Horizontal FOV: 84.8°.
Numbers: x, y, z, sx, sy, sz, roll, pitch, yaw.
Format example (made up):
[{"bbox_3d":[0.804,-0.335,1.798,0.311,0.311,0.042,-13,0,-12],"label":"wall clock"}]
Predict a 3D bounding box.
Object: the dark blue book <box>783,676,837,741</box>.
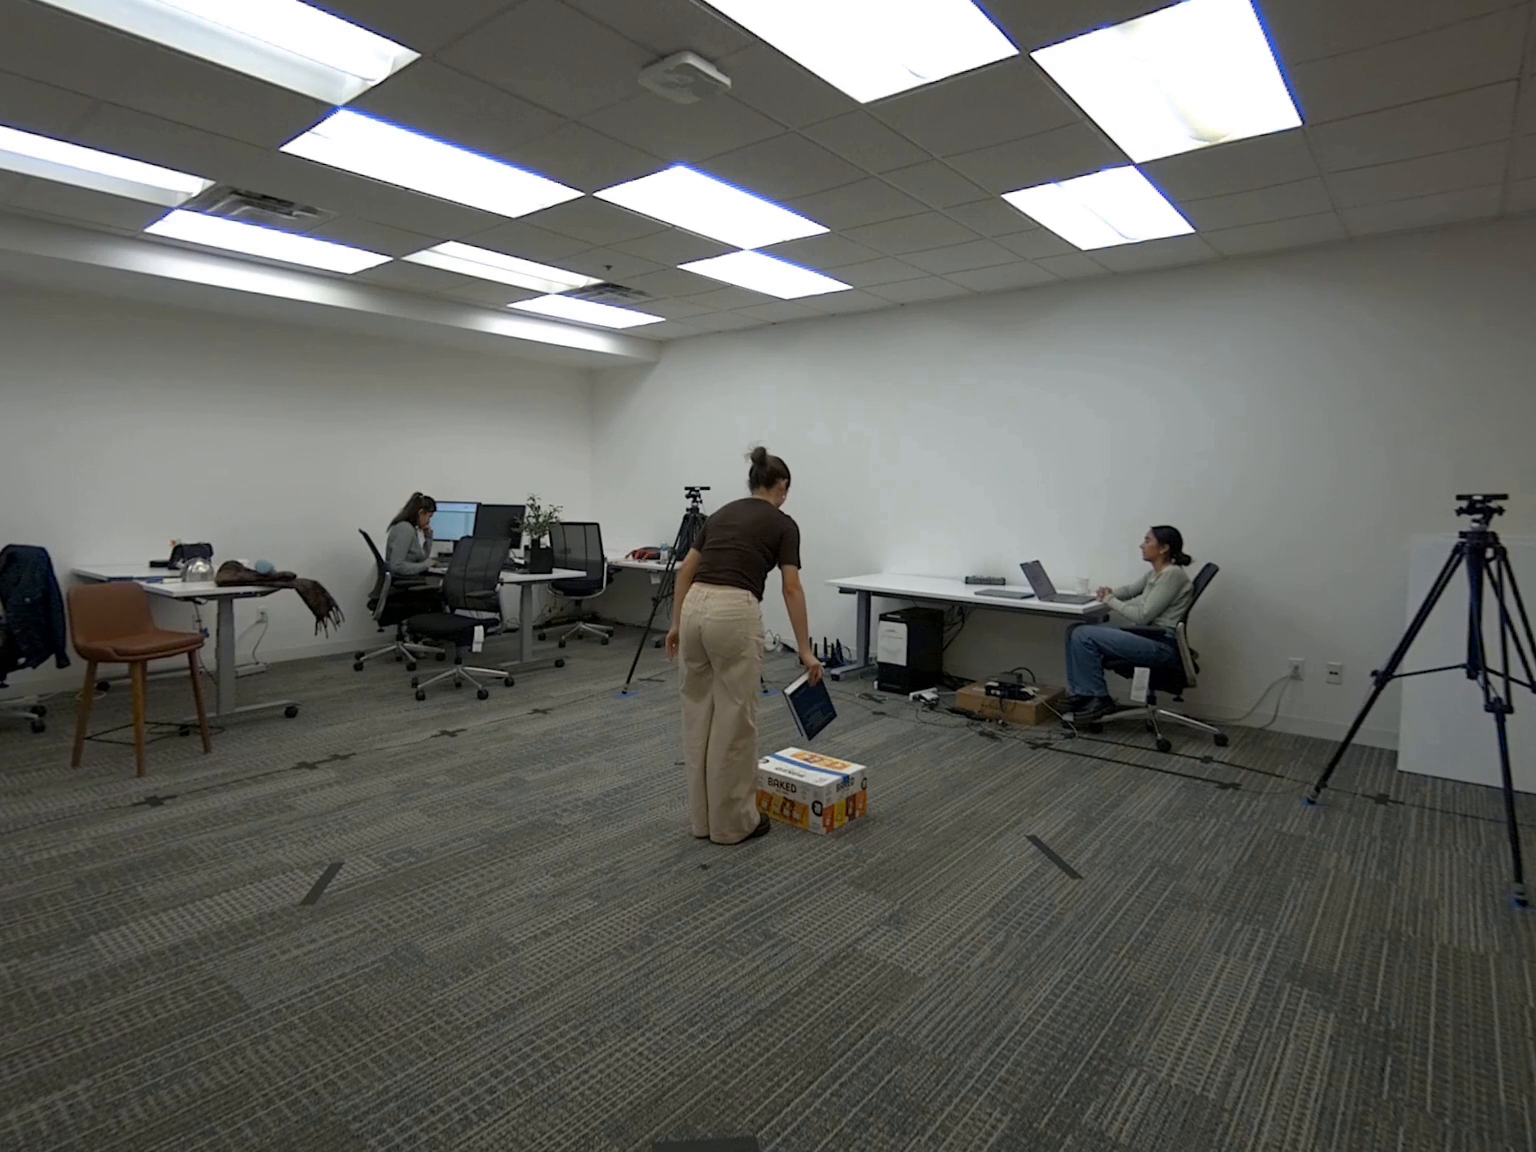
[{"bbox_3d":[0.146,0.503,3.313,0.162,0.238,0.047,-35,27,-23],"label":"dark blue book"}]
